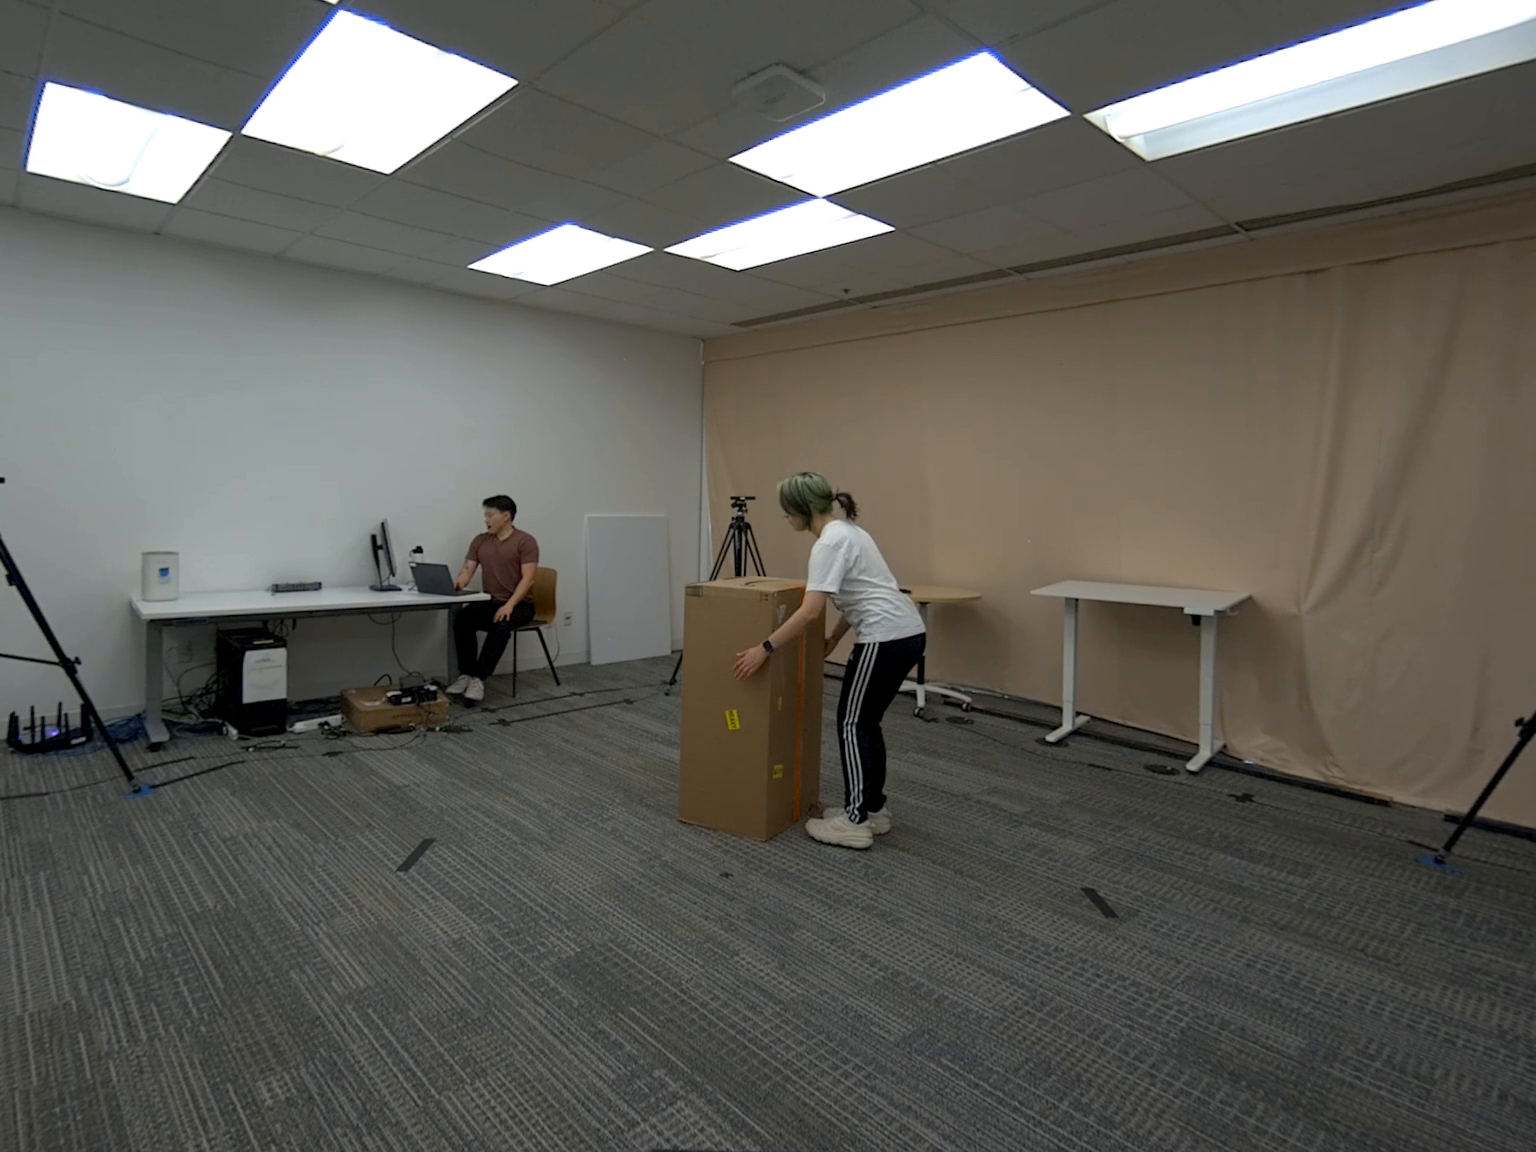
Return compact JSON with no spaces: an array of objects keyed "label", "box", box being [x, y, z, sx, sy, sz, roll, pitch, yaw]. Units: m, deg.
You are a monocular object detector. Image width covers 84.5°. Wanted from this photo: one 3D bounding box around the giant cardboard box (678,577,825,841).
[{"label":"giant cardboard box","box":[-0.063,0.544,3.739,0.435,1.024,0.567,3,3,27]}]
